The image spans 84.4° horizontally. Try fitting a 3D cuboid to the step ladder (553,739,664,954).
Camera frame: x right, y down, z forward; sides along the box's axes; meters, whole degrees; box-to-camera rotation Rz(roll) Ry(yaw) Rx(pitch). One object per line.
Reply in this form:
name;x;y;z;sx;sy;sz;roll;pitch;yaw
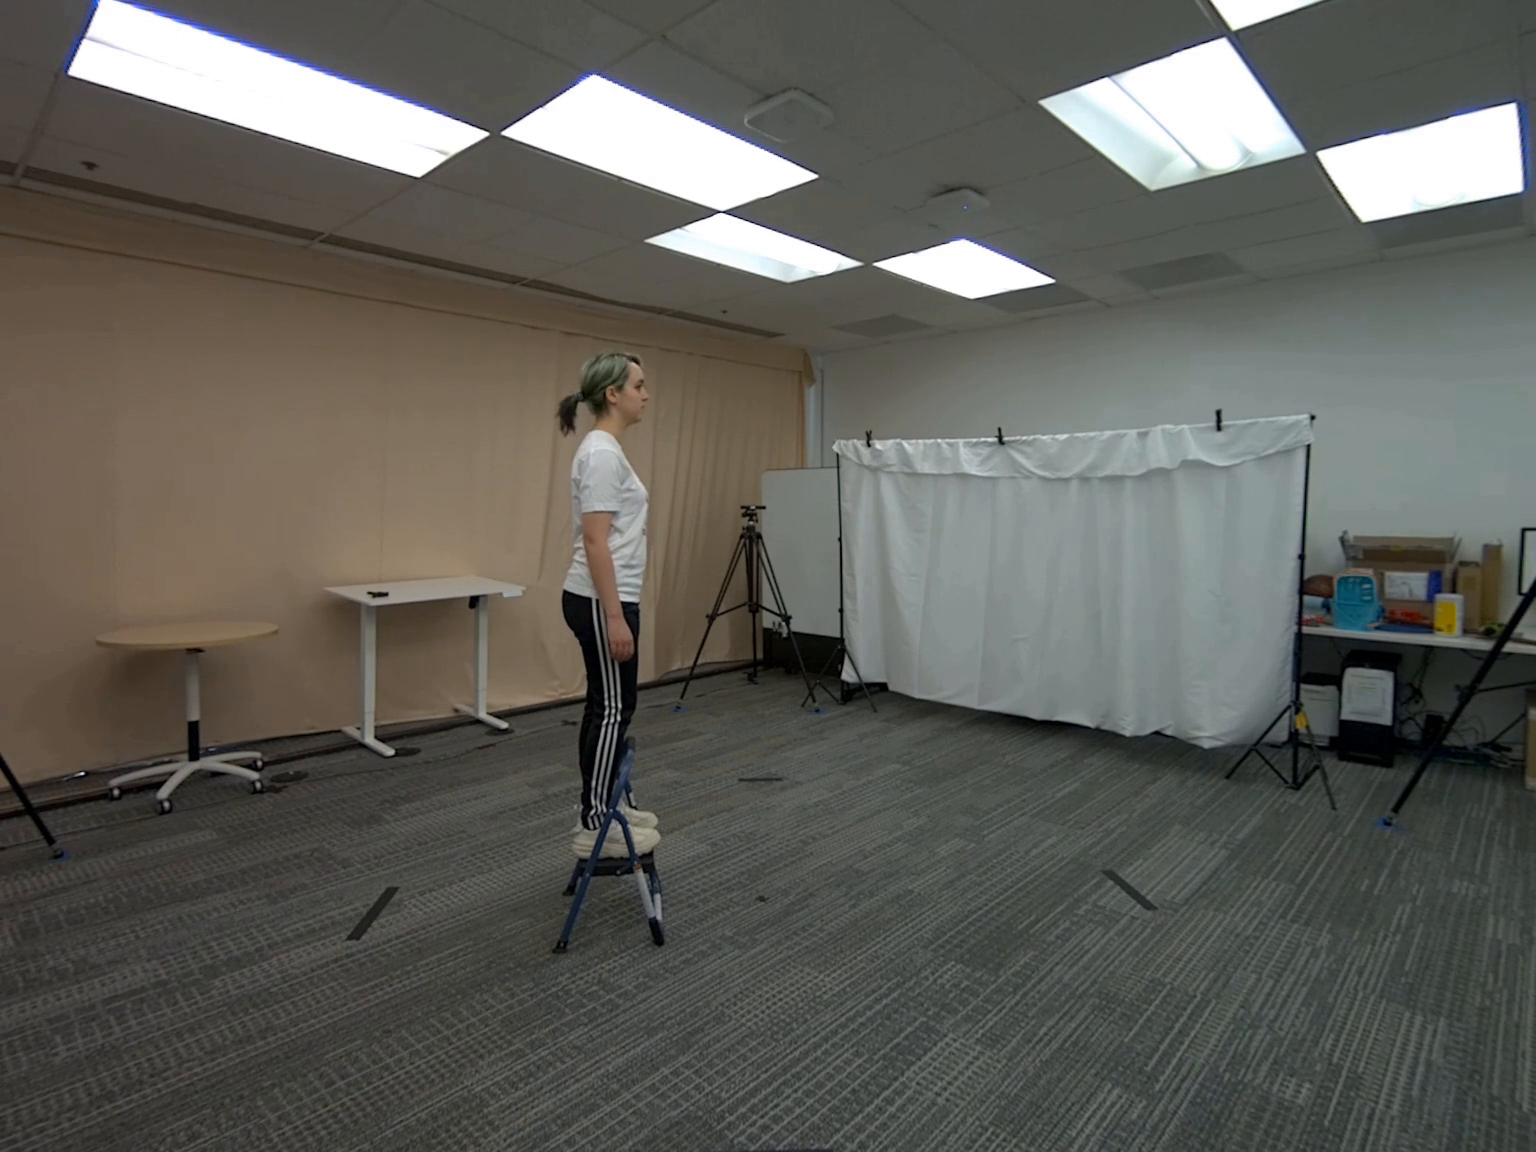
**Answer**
step ladder;-0.532;0.861;2.836;0.347;0.605;0.435;-2;4;-8
